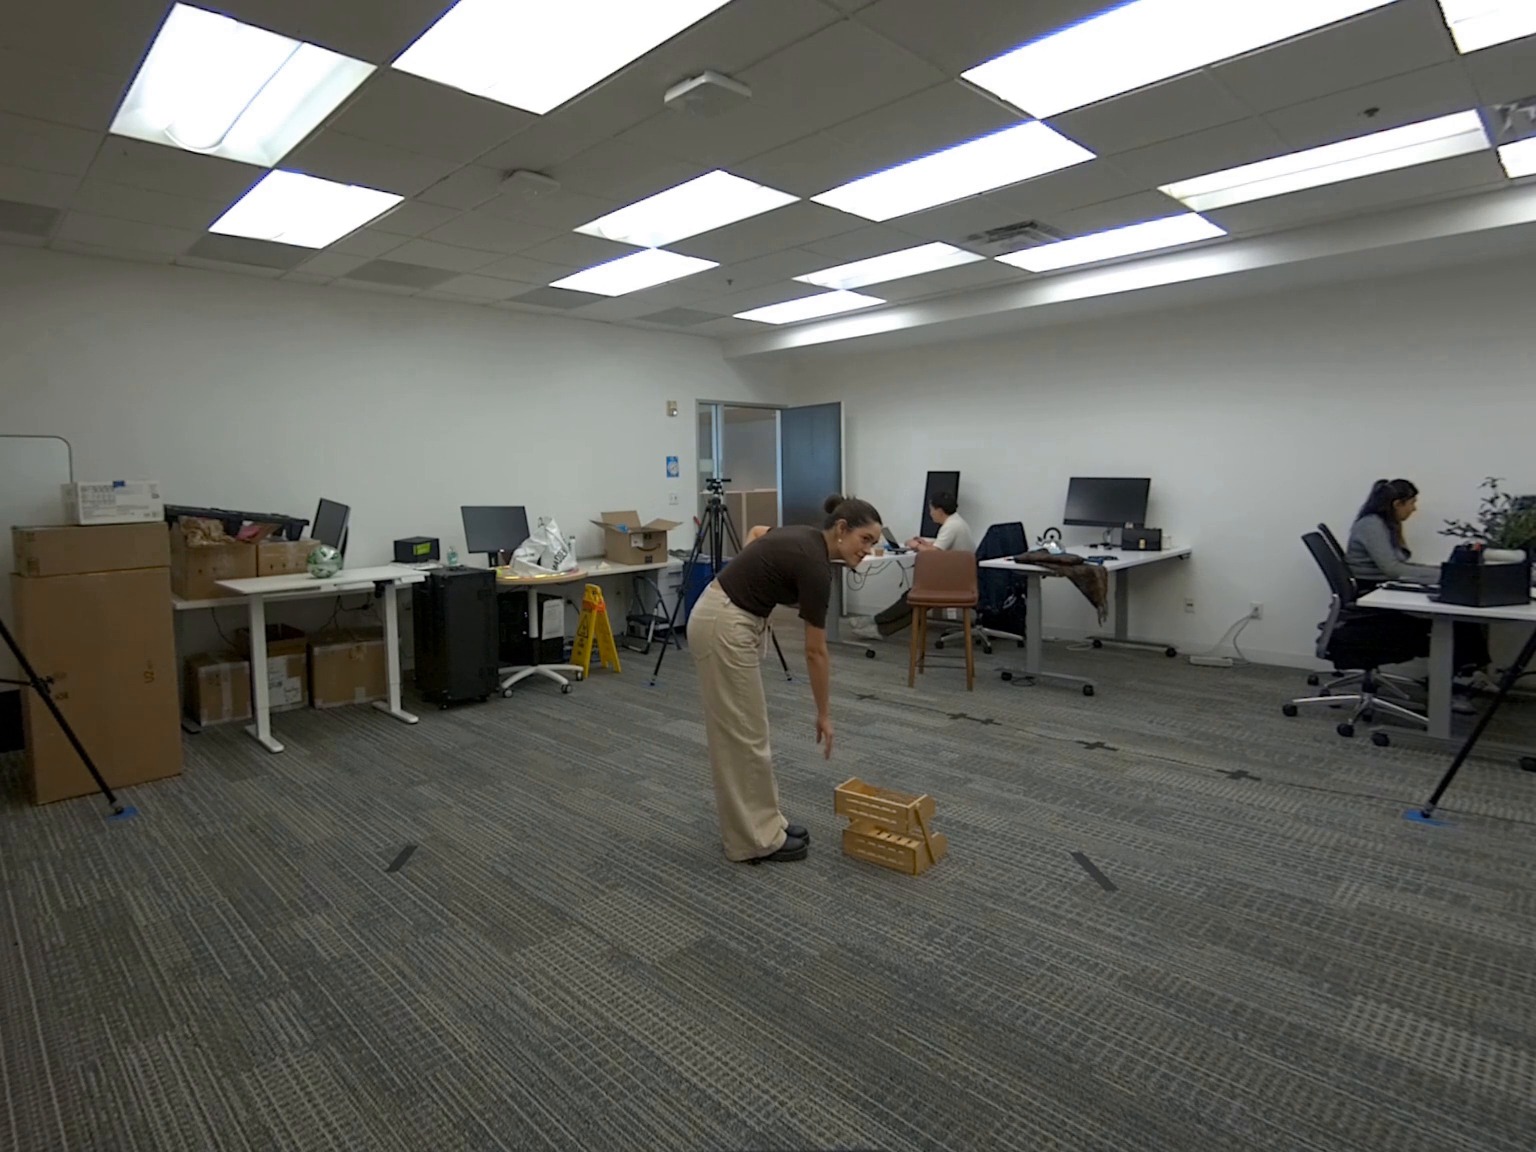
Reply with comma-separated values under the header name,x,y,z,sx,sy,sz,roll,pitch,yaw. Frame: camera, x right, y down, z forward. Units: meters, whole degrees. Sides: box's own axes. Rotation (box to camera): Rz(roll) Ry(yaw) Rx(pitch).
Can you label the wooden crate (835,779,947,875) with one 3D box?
name,x,y,z,sx,sy,sz,roll,pitch,yaw
wooden crate,0.451,0.891,3.149,0.334,0.272,0.295,3,7,38
